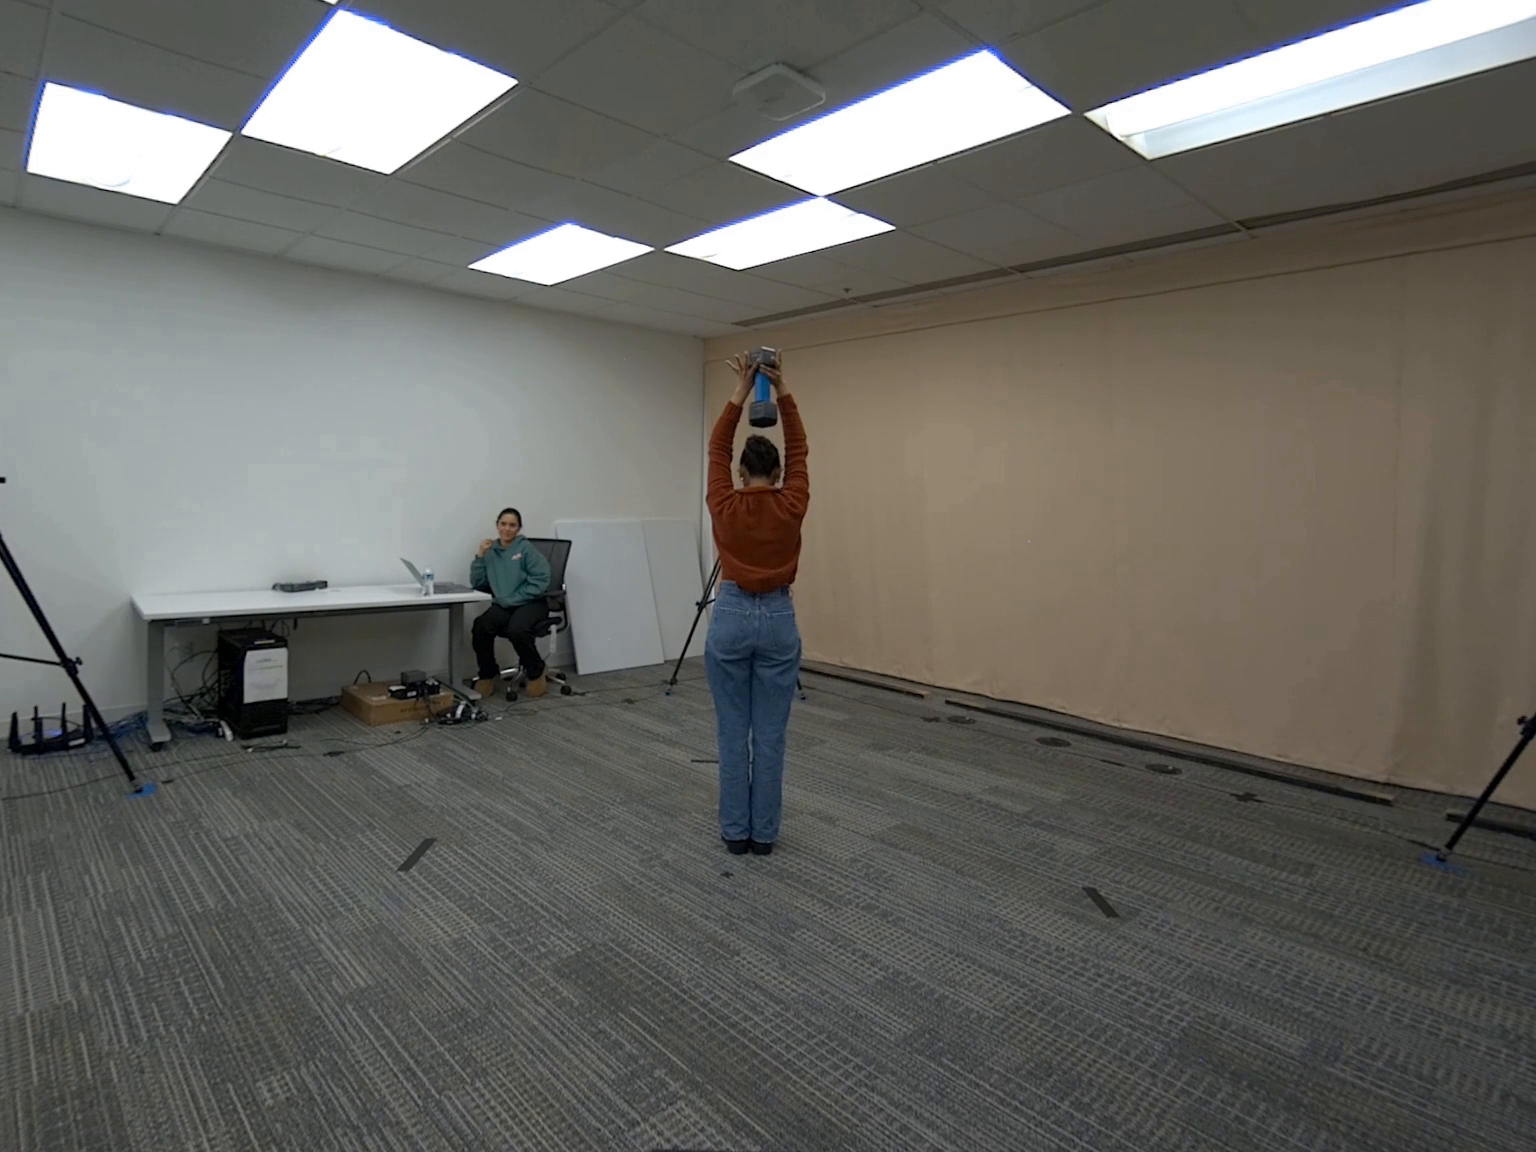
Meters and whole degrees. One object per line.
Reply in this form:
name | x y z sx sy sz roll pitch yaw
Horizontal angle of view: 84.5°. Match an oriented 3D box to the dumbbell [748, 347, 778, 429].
dumbbell | -0.029 -0.713 3.231 0.108 0.296 0.122 -1 -11 -5
